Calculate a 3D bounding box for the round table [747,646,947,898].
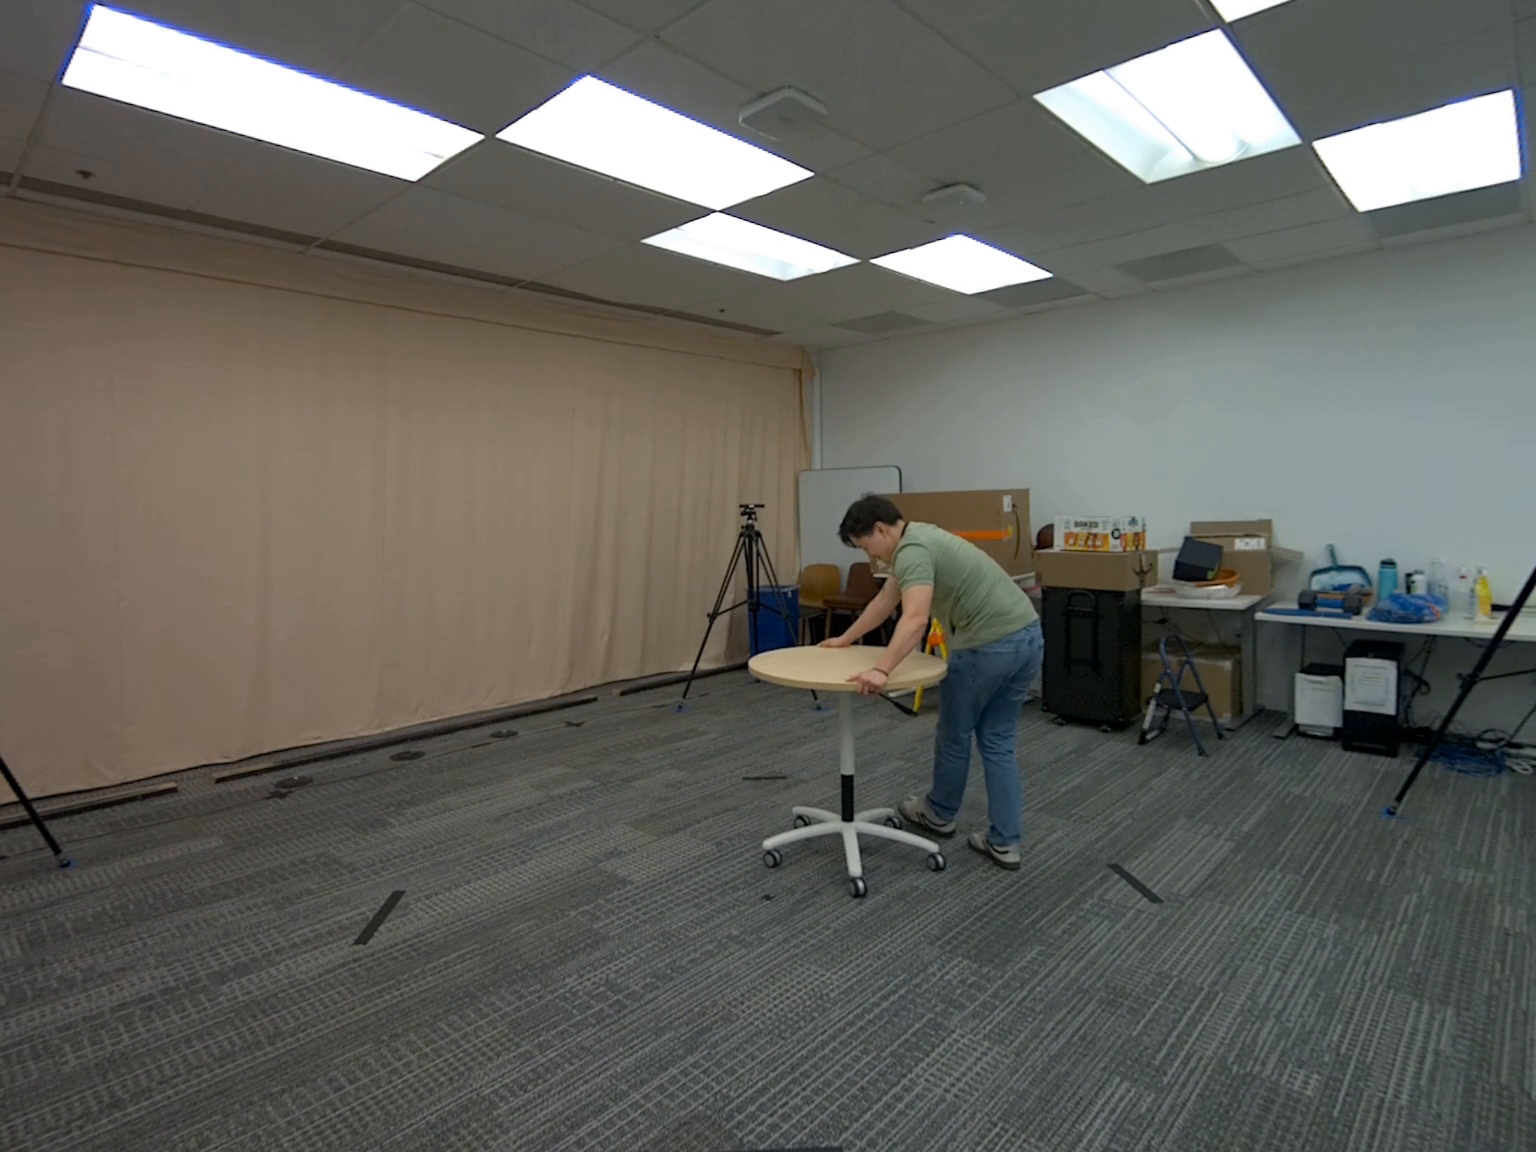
[{"bbox_3d":[0.317,0.725,3.312,0.763,0.792,0.767,-1,4,-2],"label":"round table"}]
